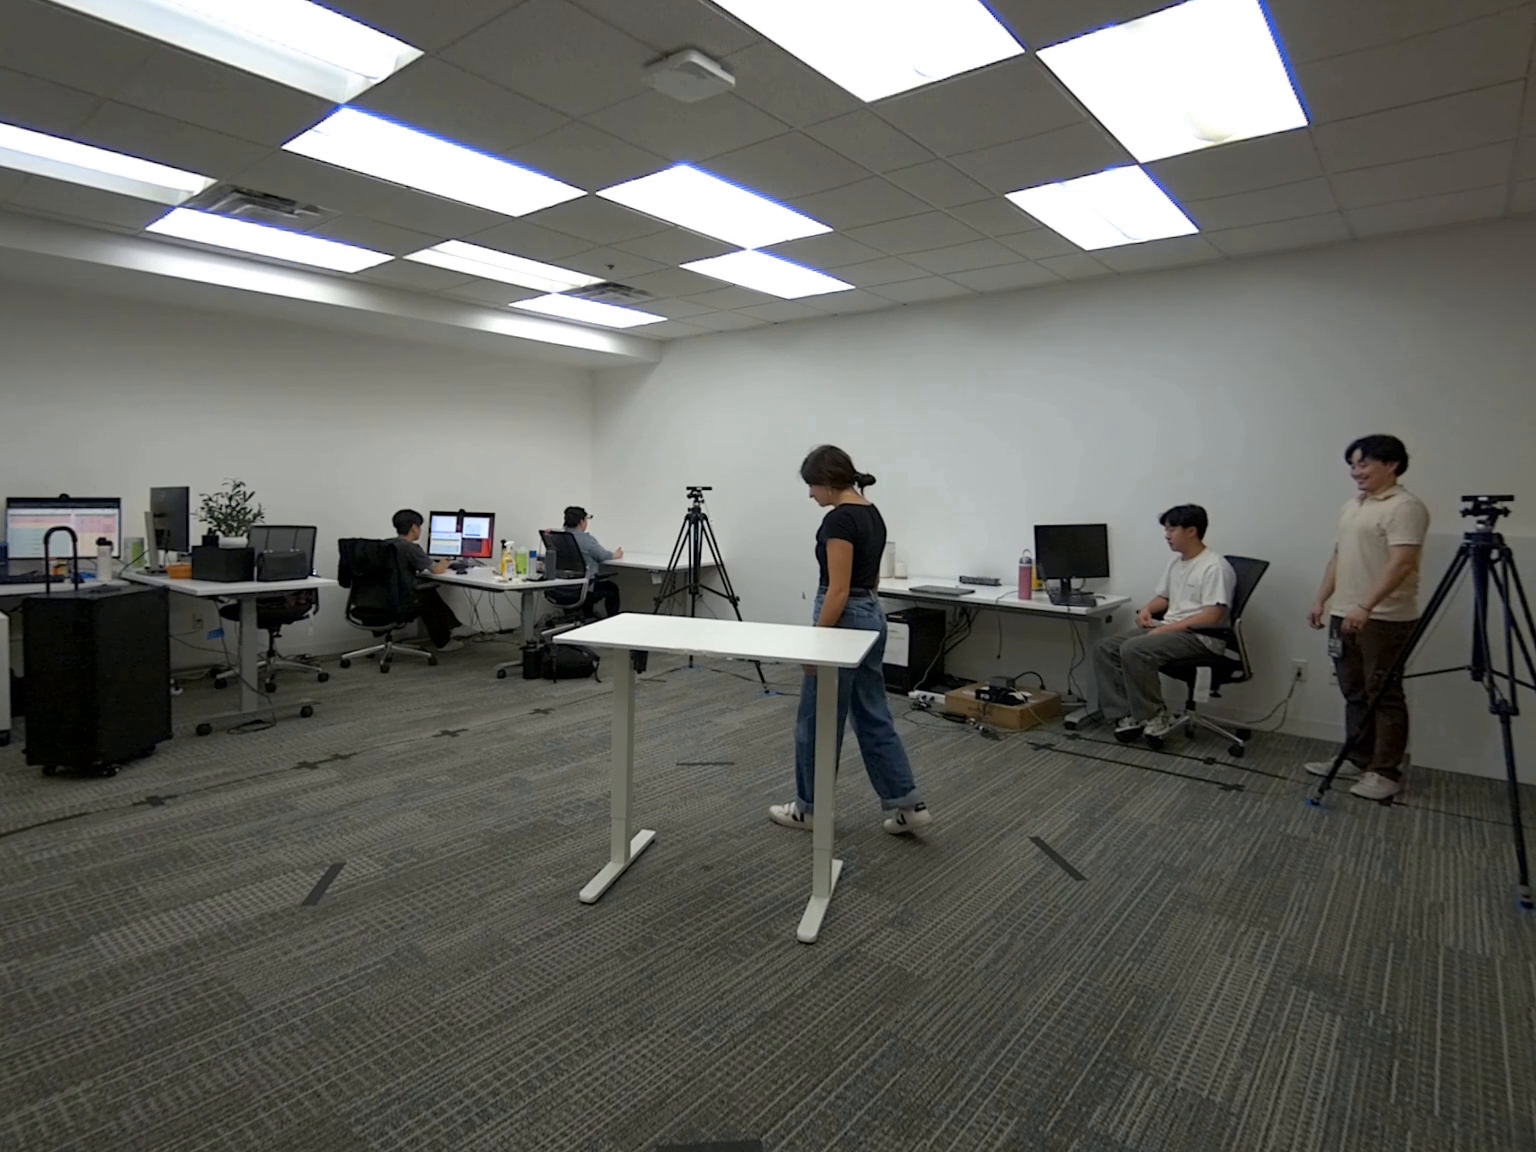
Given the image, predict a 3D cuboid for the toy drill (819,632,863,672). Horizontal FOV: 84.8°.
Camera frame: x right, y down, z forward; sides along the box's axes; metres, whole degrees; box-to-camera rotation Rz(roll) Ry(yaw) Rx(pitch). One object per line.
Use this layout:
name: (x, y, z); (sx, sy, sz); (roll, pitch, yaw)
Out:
toy drill: (0.324, 0.335, 3.724); (0.148, 0.163, 0.062); (-9, 41, 20)
